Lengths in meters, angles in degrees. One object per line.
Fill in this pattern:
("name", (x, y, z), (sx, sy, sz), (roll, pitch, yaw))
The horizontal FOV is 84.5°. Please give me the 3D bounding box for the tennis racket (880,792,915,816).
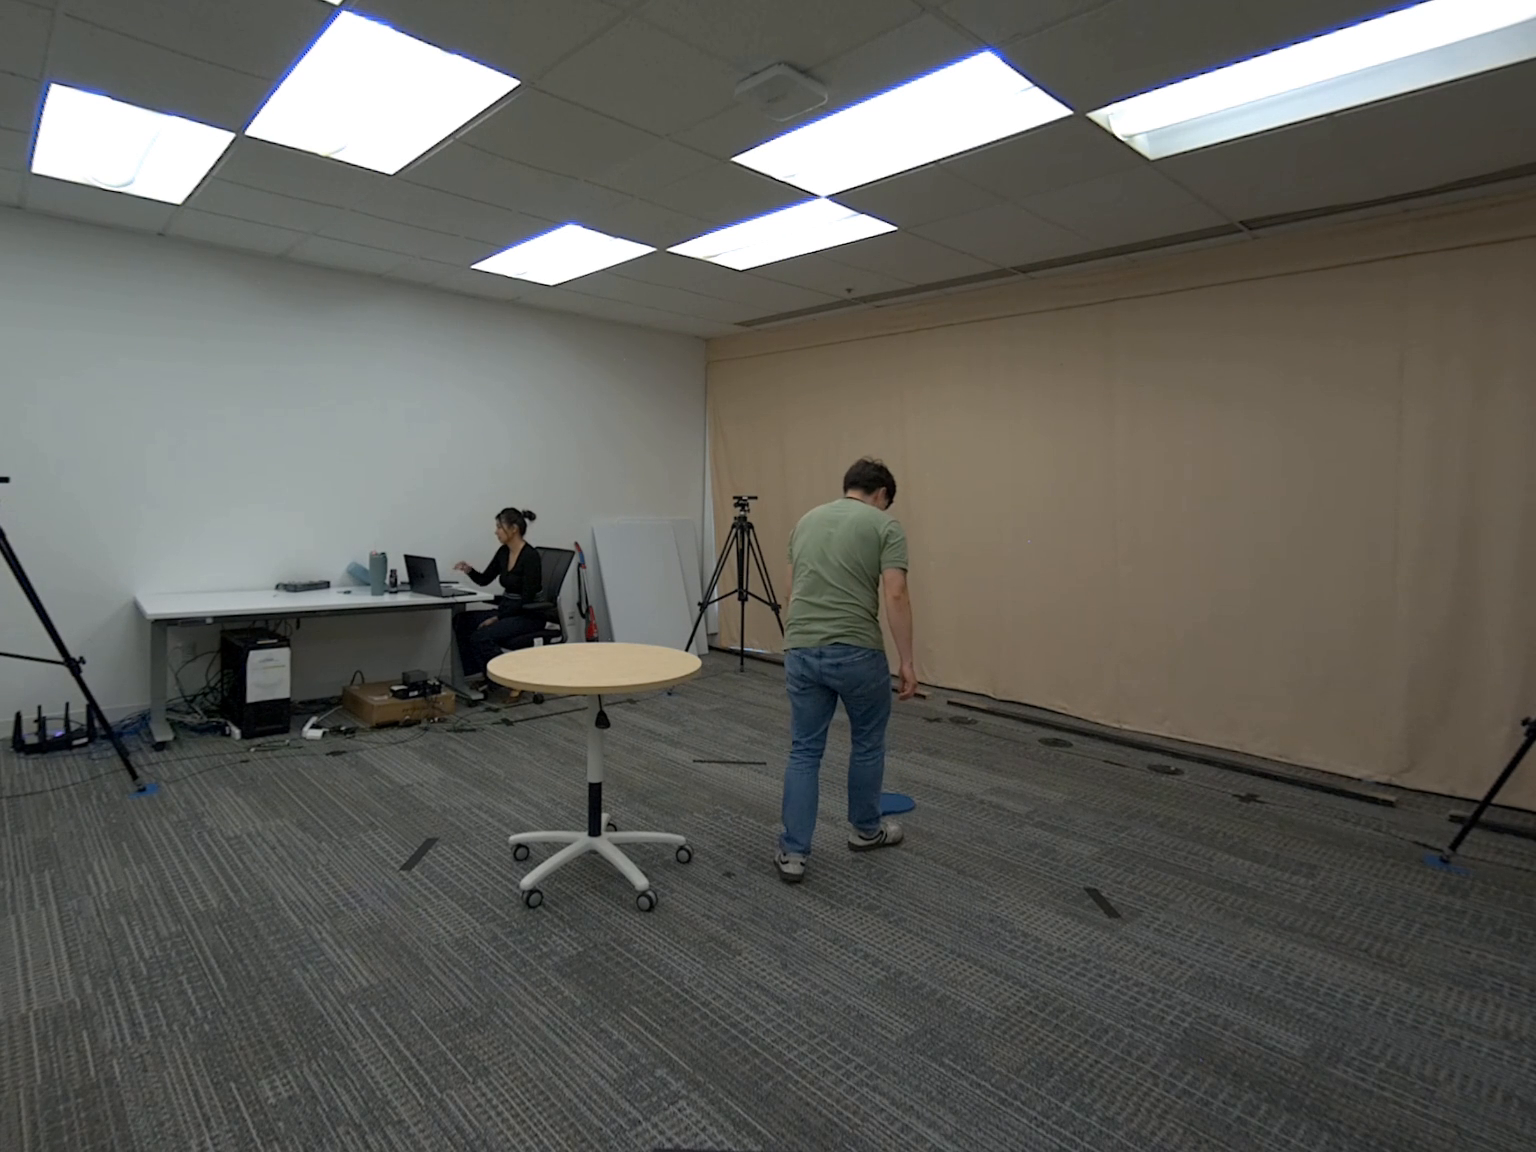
("tennis racket", (0.508, 1.042, 3.808), (0.218, 0.032, 0.424), (5, 5, 30))
